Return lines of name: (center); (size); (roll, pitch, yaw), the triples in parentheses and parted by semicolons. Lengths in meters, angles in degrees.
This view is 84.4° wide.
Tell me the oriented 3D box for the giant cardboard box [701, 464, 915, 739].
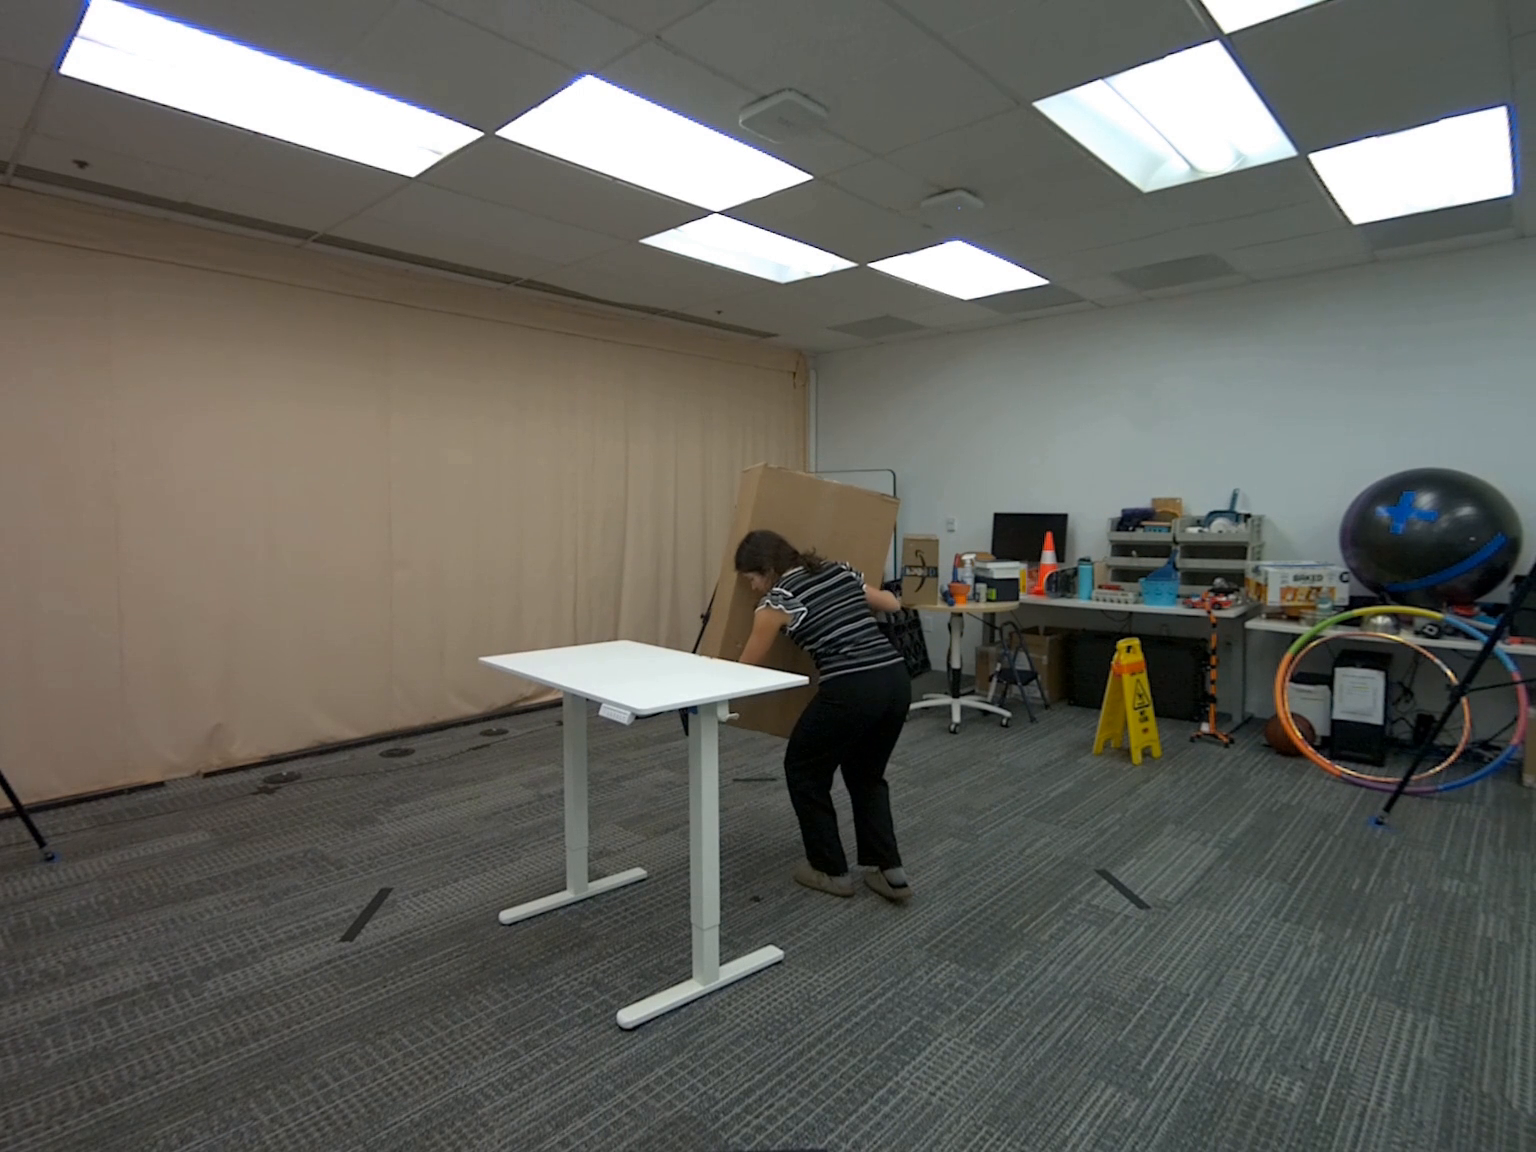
giant cardboard box: (0.104, 0.106, 3.491); (0.572, 1.025, 0.431); (13, 2, -9)
